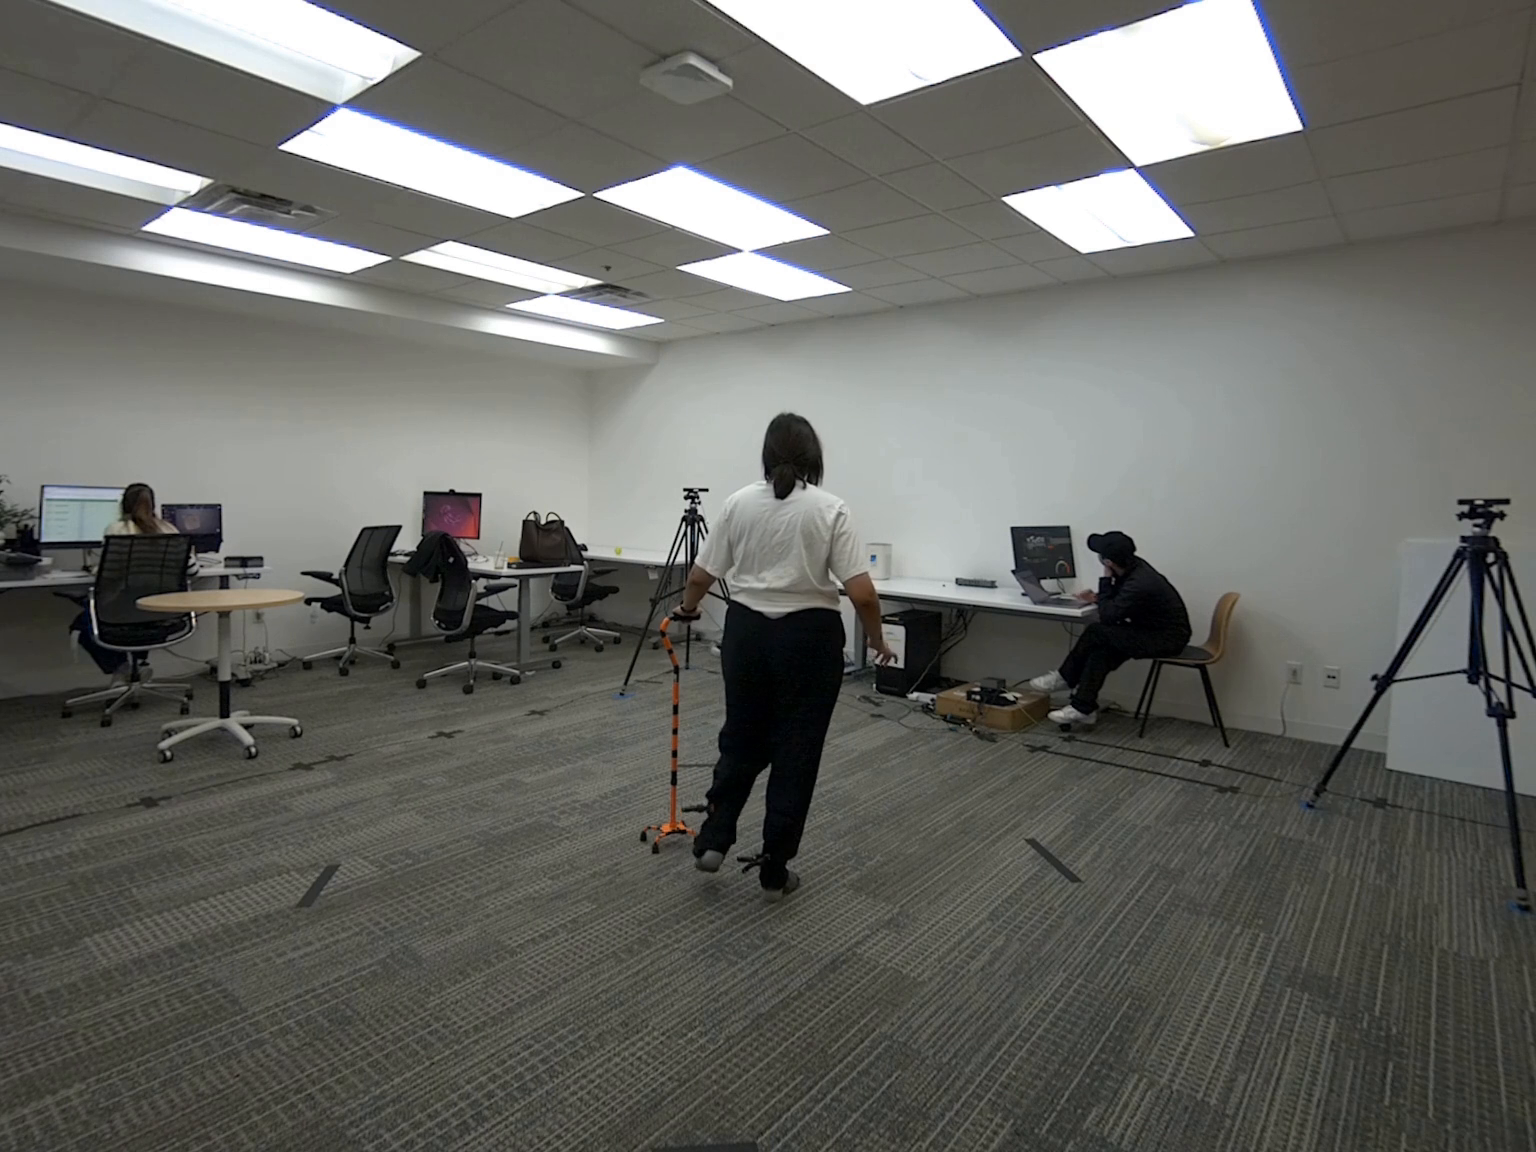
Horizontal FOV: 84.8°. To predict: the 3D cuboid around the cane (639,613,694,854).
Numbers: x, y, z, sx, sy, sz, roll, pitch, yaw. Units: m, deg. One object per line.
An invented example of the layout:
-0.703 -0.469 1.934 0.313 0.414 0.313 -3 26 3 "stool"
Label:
-0.383 0.593 3.314 0.201 0.905 0.156 -1 4 -29 "cane"
